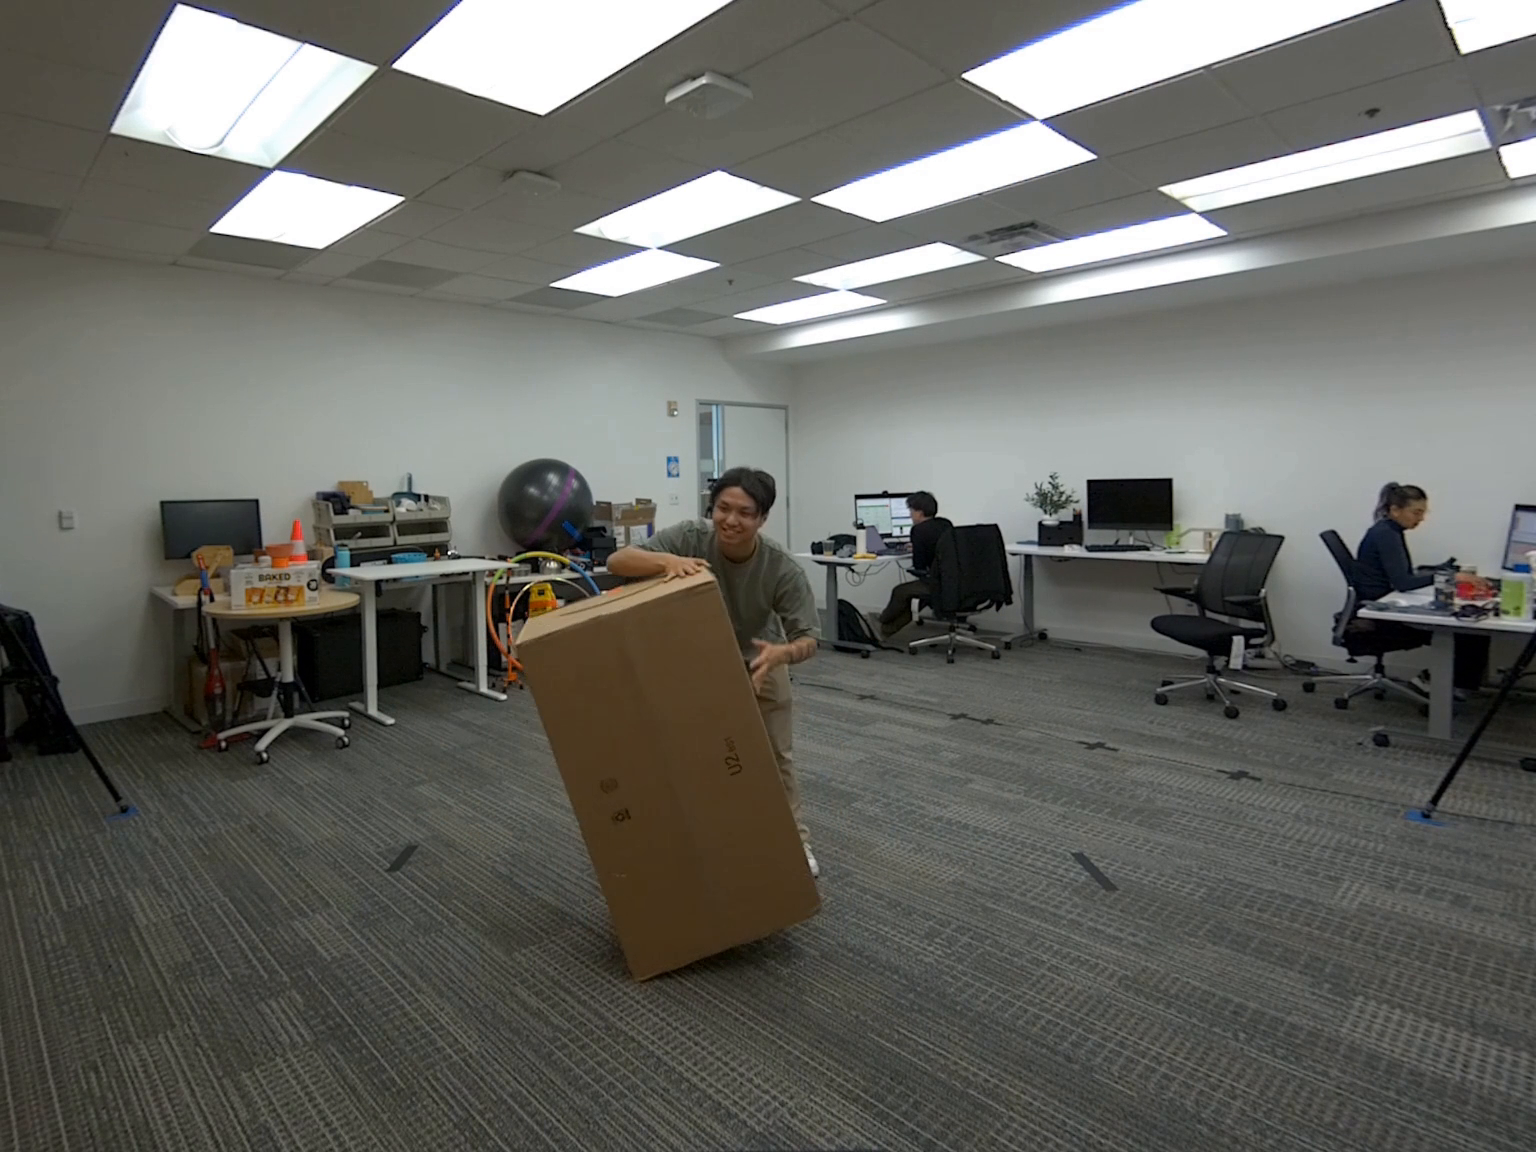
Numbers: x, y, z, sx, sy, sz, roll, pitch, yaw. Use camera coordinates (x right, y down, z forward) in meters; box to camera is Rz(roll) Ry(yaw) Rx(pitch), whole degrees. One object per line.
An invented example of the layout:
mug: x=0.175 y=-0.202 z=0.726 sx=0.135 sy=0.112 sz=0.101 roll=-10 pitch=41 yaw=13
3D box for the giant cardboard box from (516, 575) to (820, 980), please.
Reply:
giant cardboard box: x=-0.302 y=0.553 z=2.567 sx=0.576 sy=1.018 sz=0.431 roll=-18 pitch=6 yaw=-5
